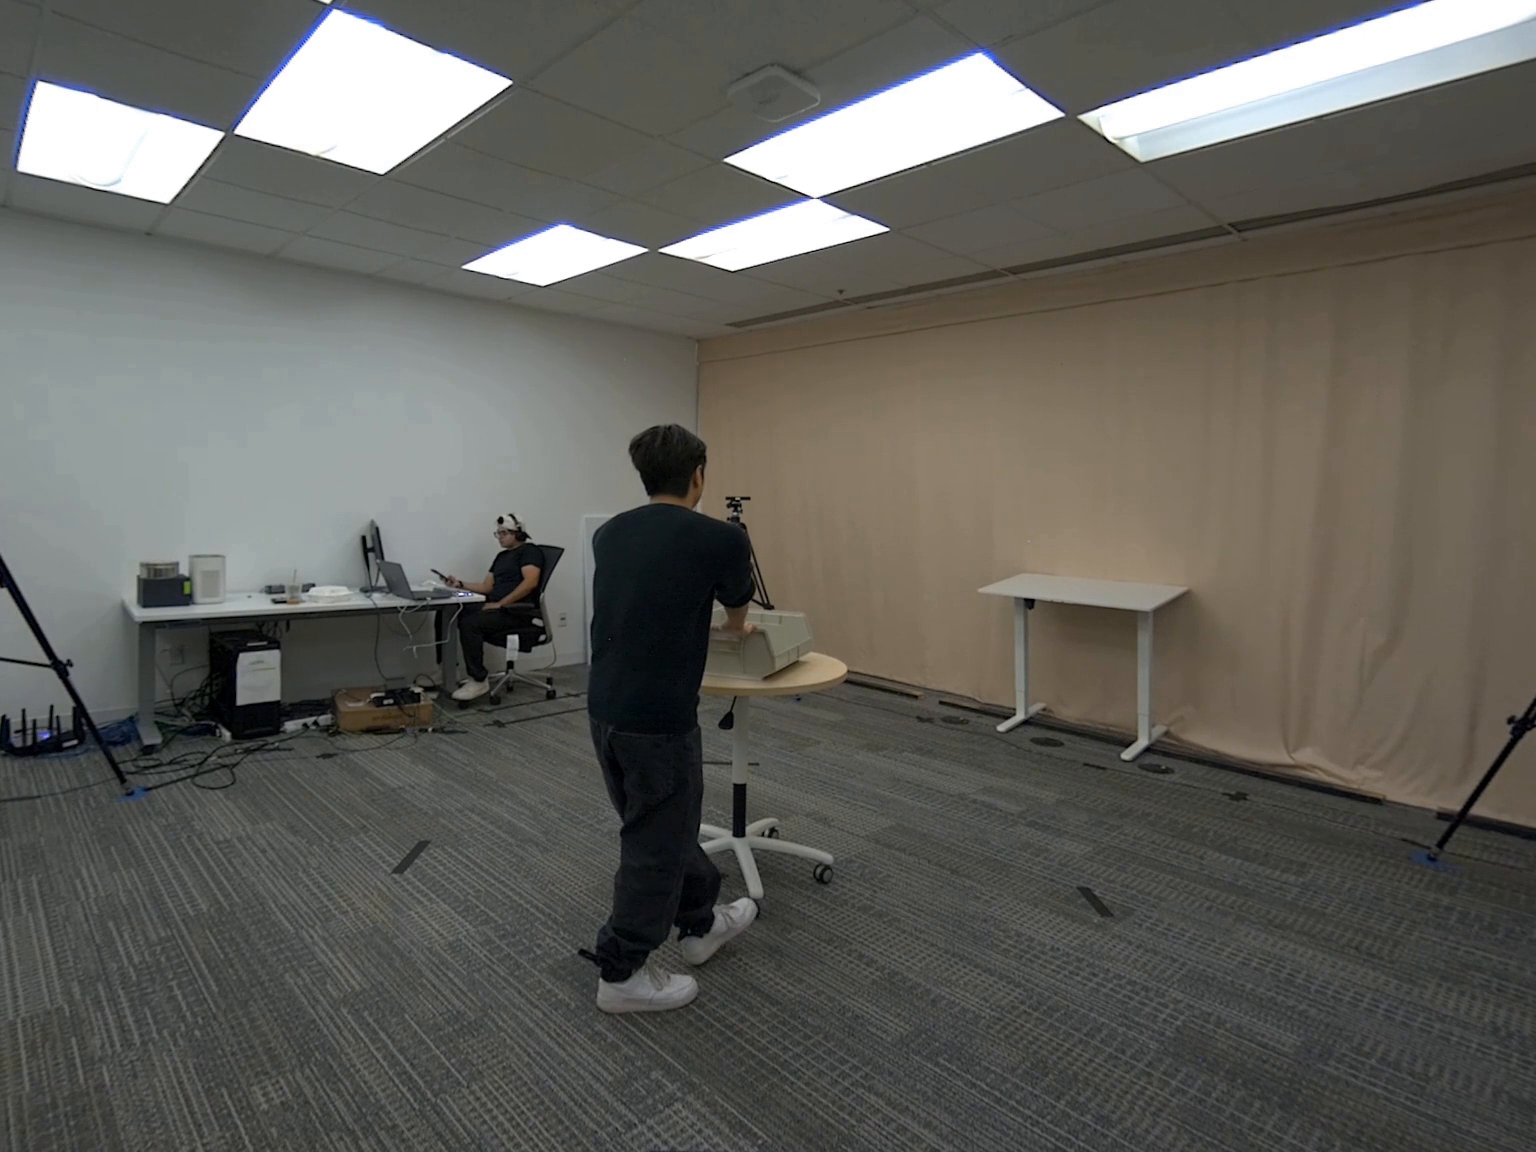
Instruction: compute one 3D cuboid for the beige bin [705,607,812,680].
[{"bbox_3d":[-0.086,0.239,3.045,0.384,0.188,0.417,1,6,21],"label":"beige bin"}]
